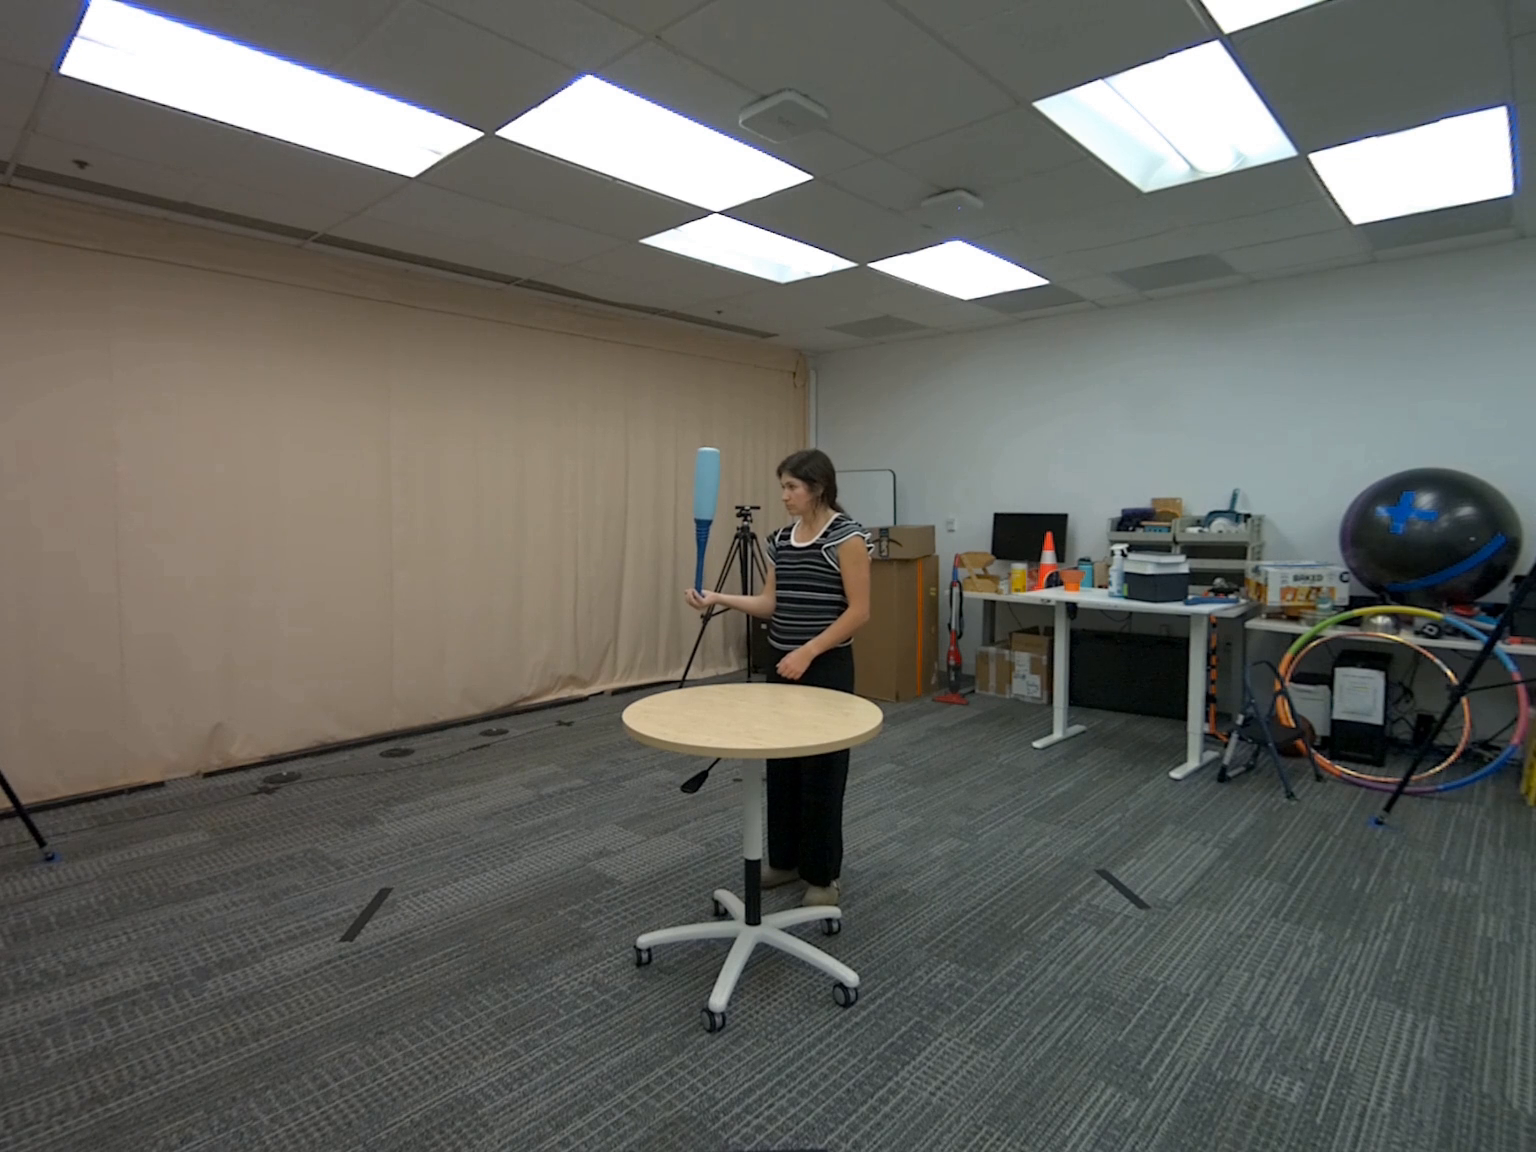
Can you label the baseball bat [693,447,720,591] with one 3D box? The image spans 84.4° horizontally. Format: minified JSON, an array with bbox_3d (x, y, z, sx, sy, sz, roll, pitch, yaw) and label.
[{"bbox_3d":[-0.228,-0.182,2.994,0.089,0.542,0.089,6,5,-2],"label":"baseball bat"}]
